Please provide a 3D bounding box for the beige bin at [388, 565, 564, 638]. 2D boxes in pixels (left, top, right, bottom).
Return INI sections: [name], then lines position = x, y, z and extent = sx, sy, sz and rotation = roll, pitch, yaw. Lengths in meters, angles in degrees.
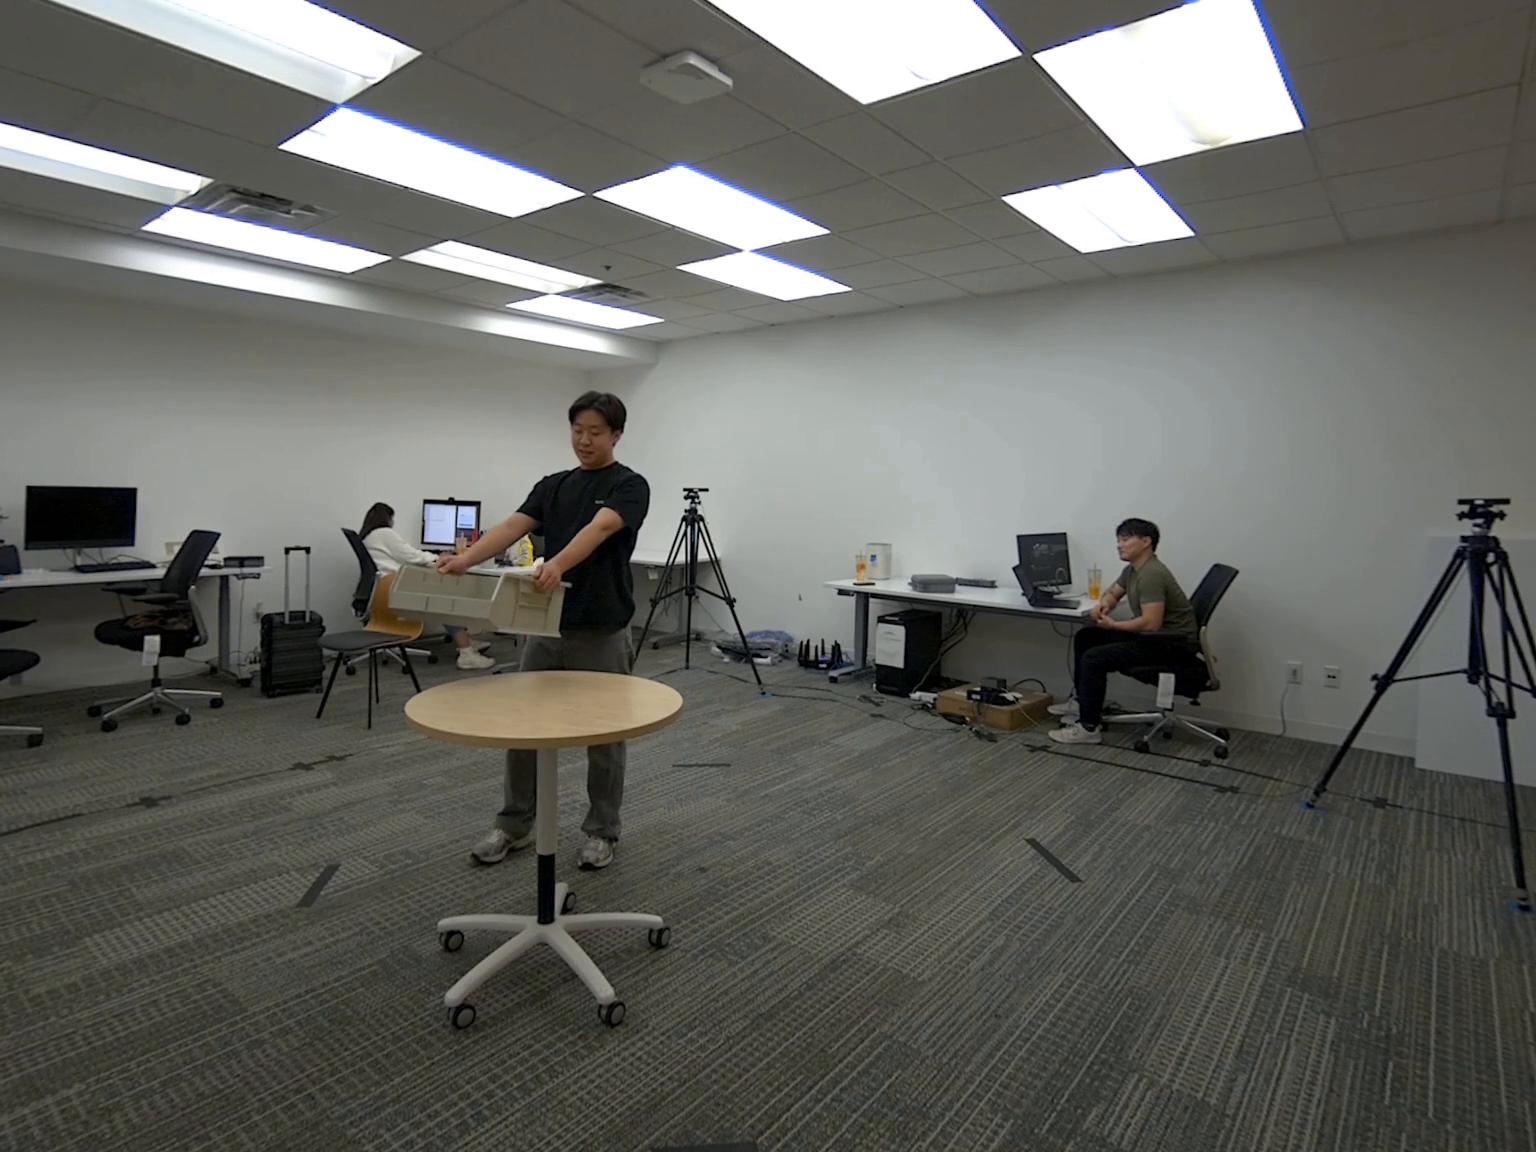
[beige bin]
position = -0.935, 0.083, 2.735
extent = 0.433, 0.190, 0.365
rotation = 3, -7, 25
